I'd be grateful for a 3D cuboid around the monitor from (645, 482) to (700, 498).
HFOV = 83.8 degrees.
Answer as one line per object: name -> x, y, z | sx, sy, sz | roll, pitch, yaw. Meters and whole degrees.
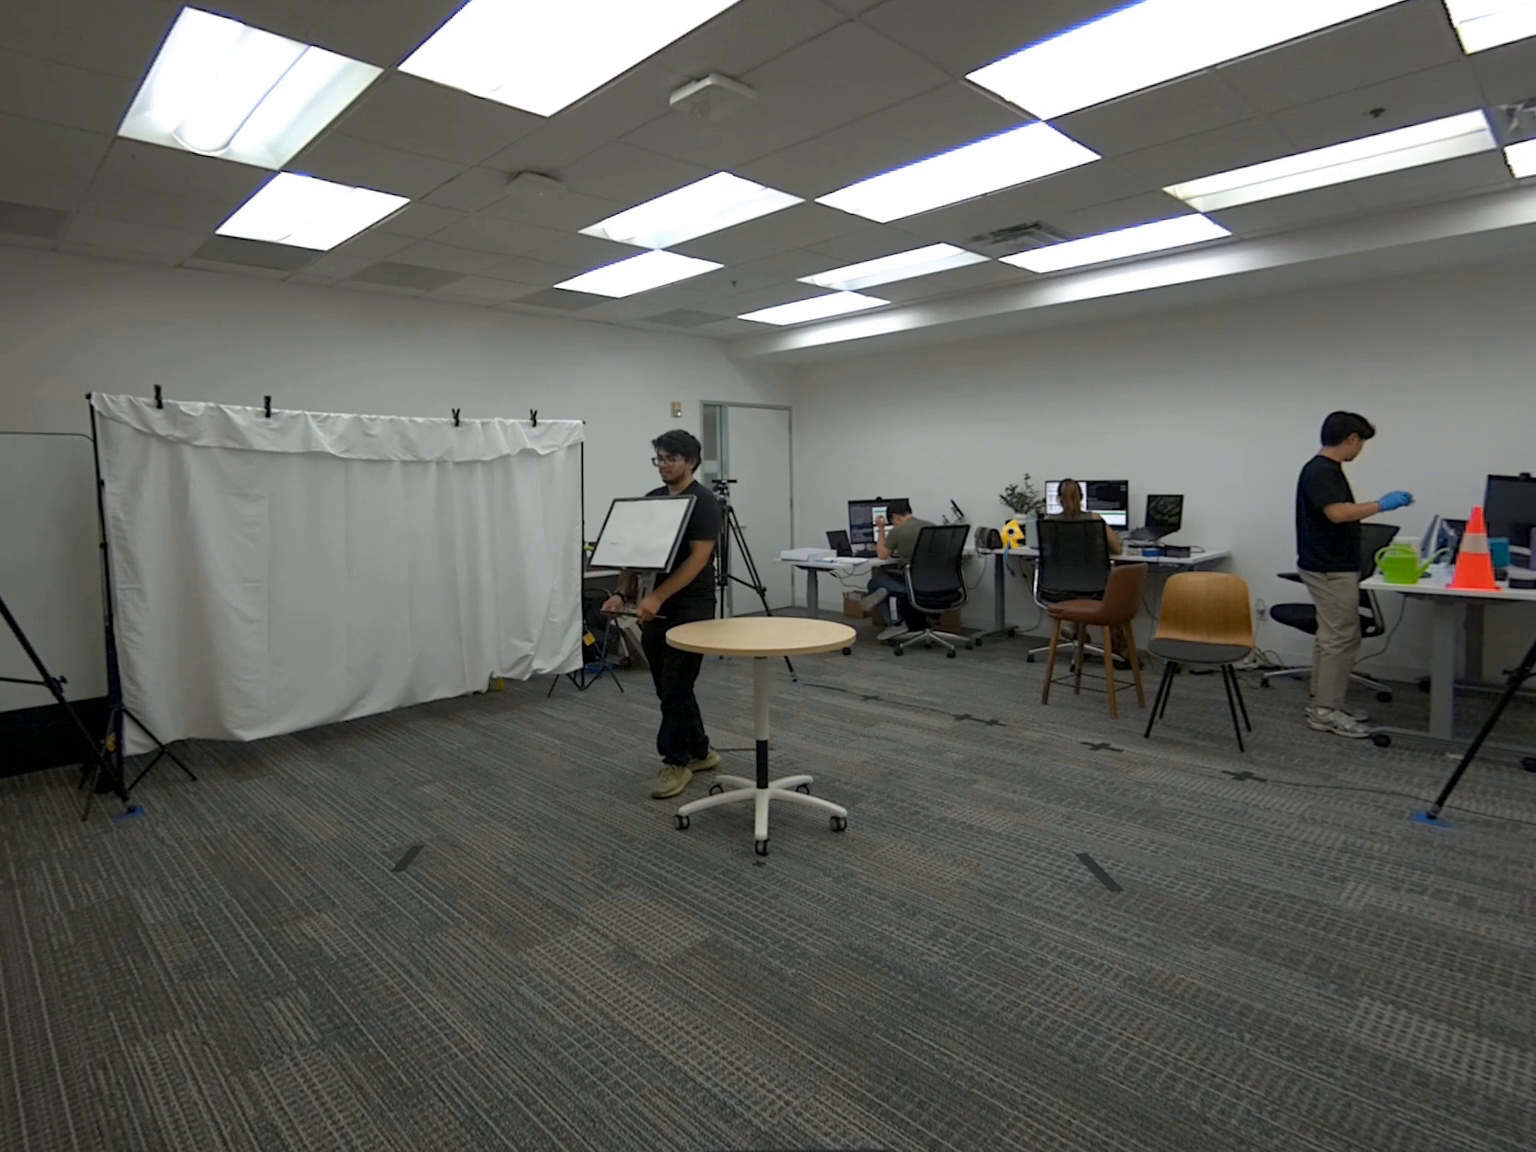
monitor -> -0.536, -0.075, 3.819 | 0.582, 0.559, 0.202 | 1, -18, 44
